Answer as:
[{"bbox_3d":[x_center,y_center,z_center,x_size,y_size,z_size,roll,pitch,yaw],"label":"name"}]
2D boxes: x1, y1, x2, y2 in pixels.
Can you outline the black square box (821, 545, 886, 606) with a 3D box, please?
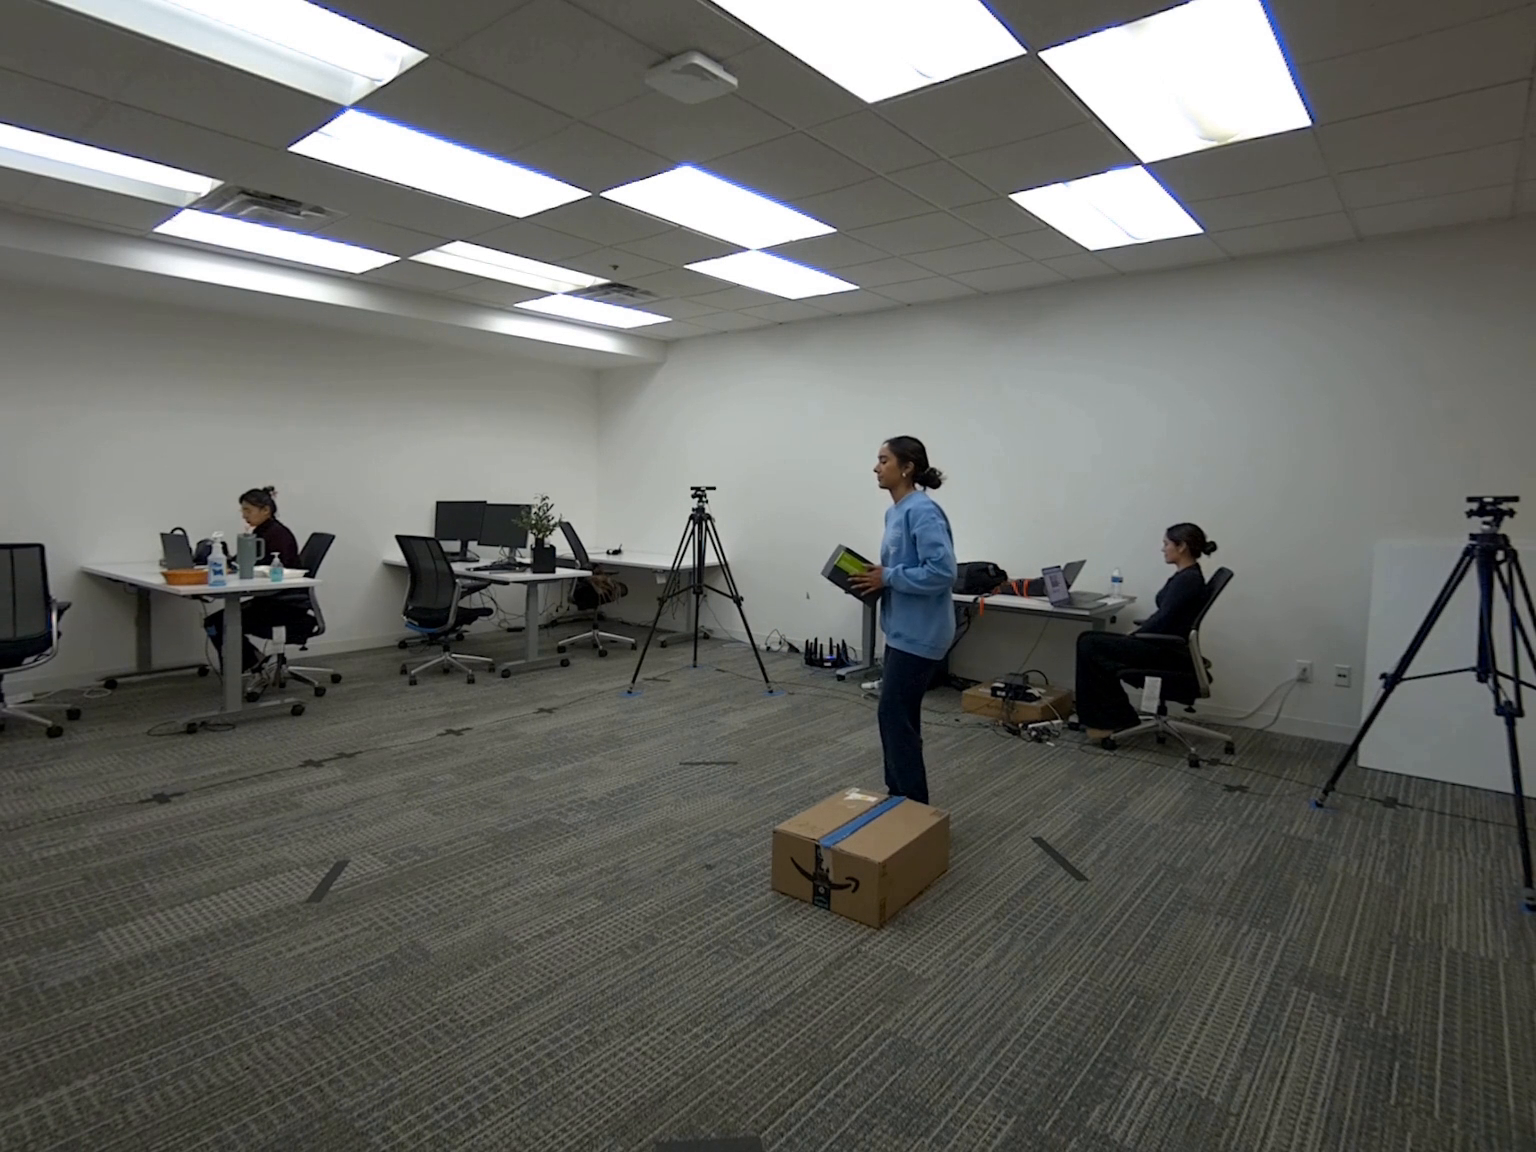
[{"bbox_3d":[0.363,-0.015,3.582,0.227,0.156,0.218,33,1,-4],"label":"black square box"}]
